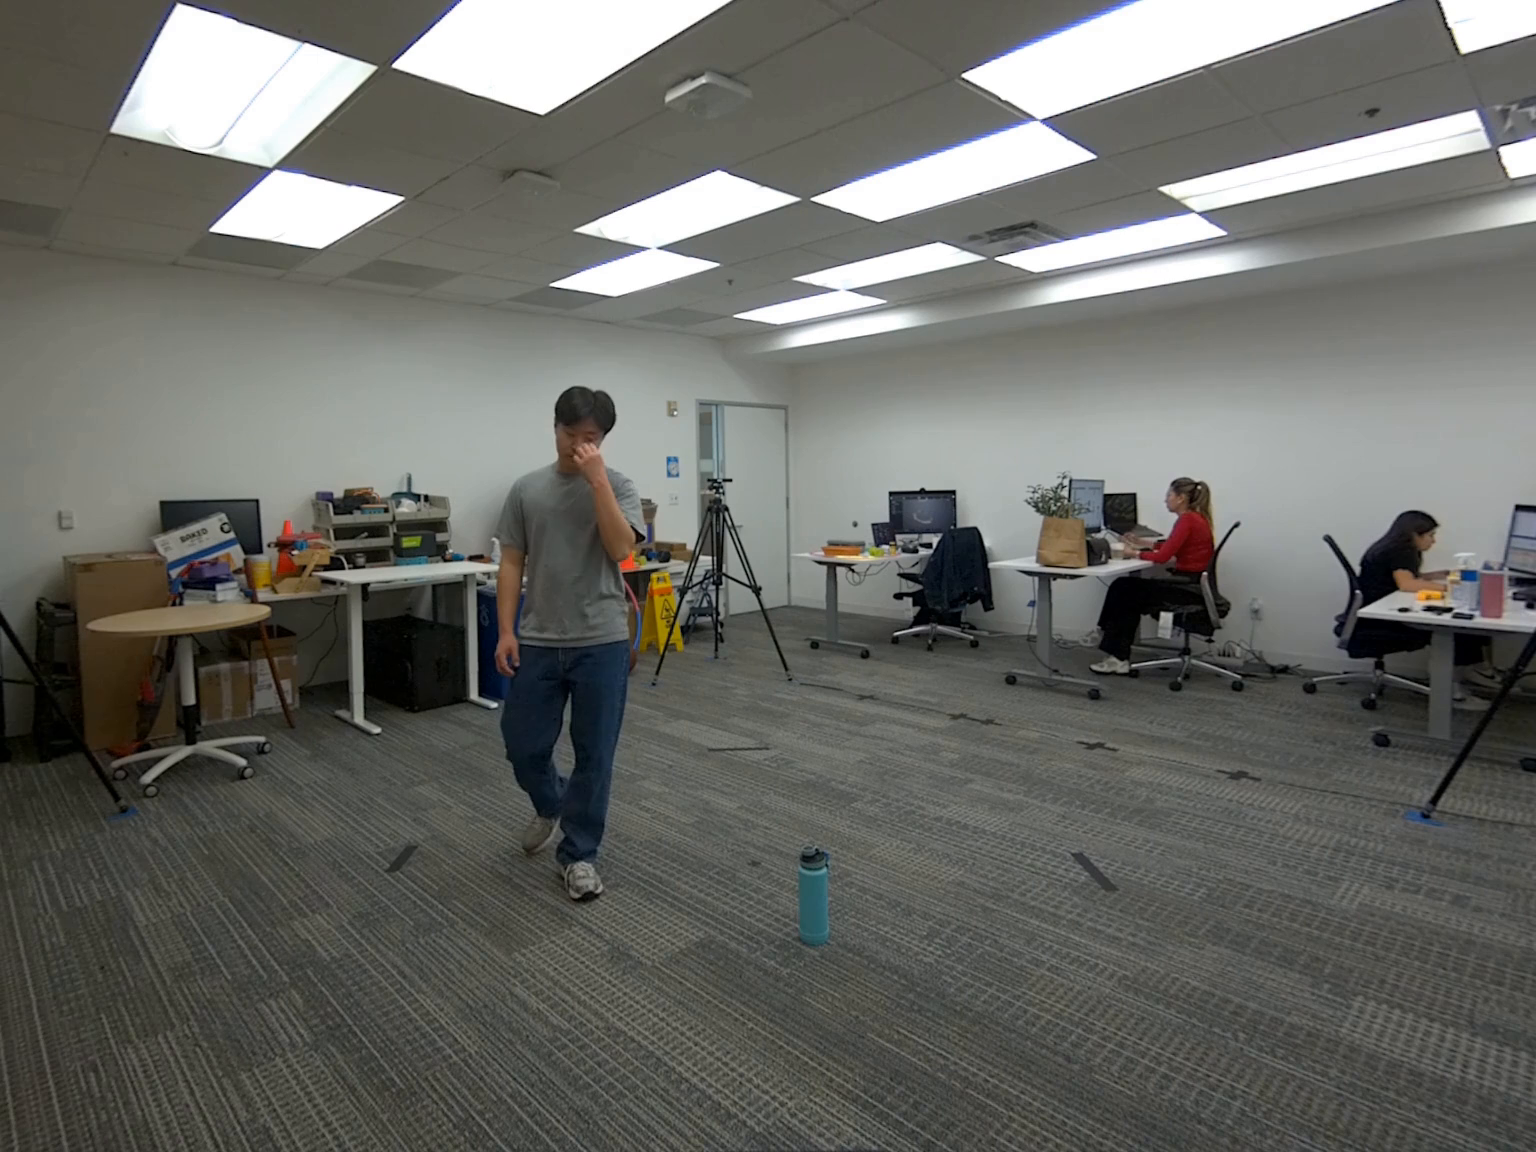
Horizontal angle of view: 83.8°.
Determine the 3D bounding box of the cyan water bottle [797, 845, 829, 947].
[{"bbox_3d":[0.146,0.961,2.589,0.092,0.282,0.093,0,4,-2],"label":"cyan water bottle"}]
